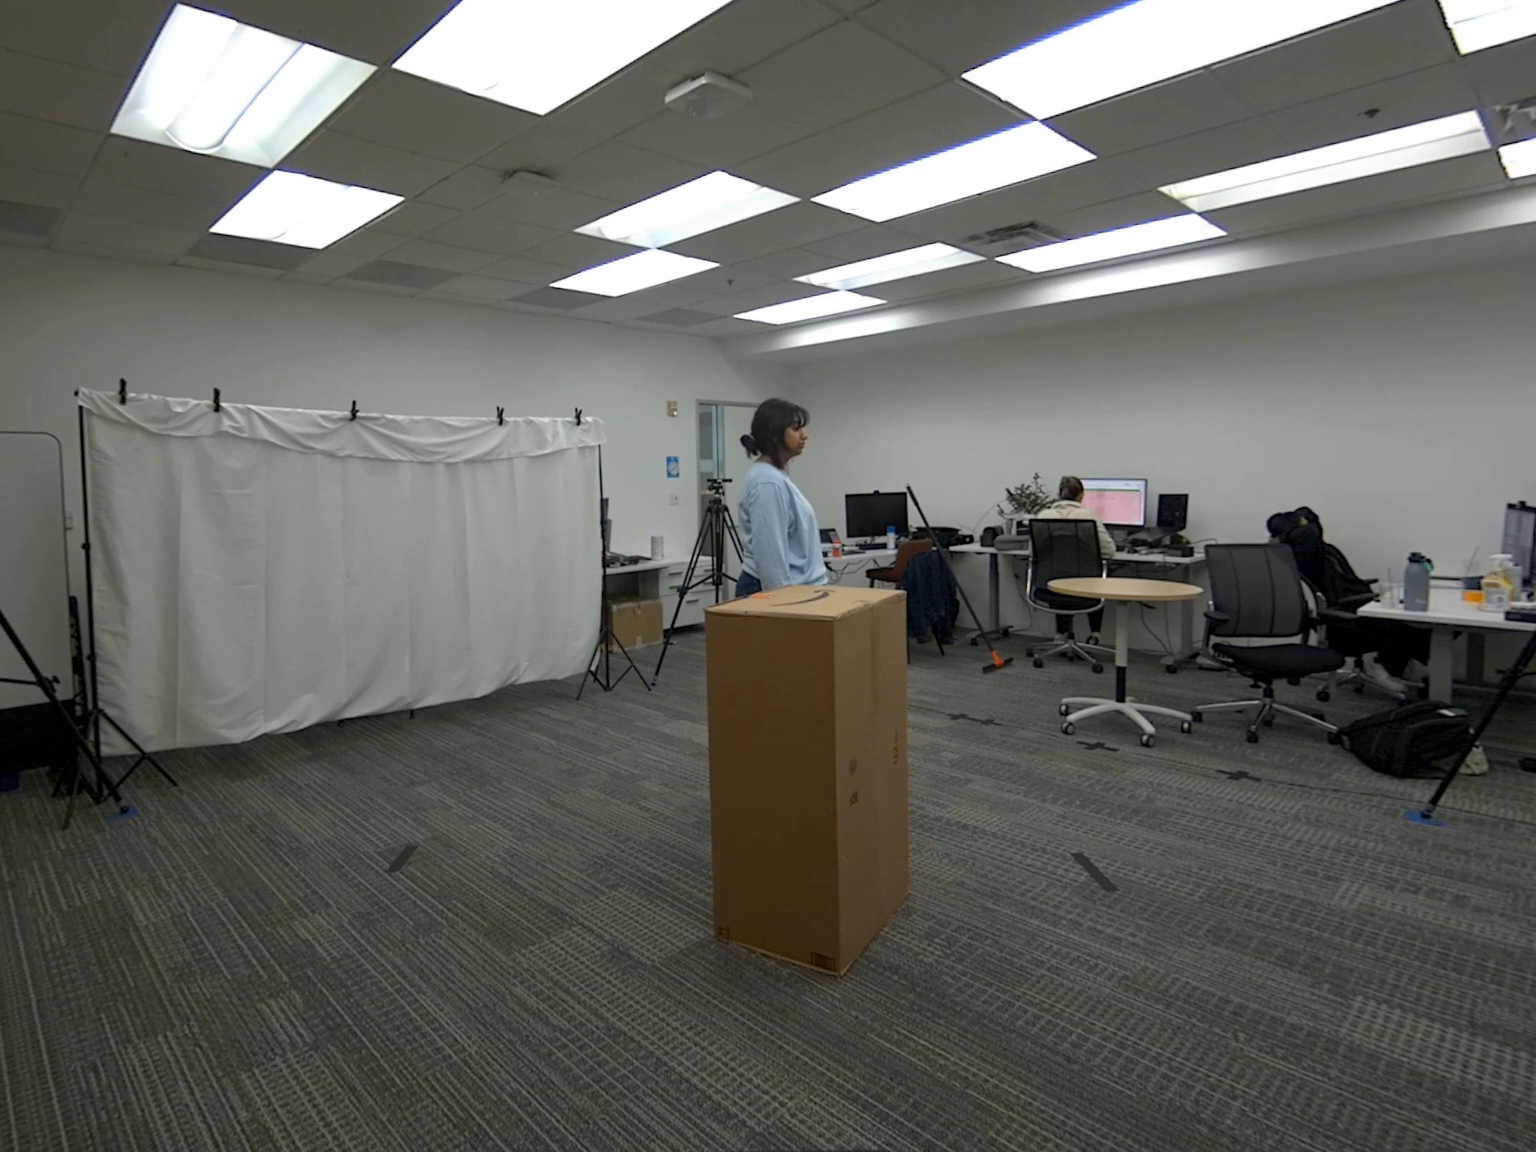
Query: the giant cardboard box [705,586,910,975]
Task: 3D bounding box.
[{"bbox_3d":[0.142,0.582,2.700,0.459,1.022,0.571,2,6,30],"label":"giant cardboard box"}]
